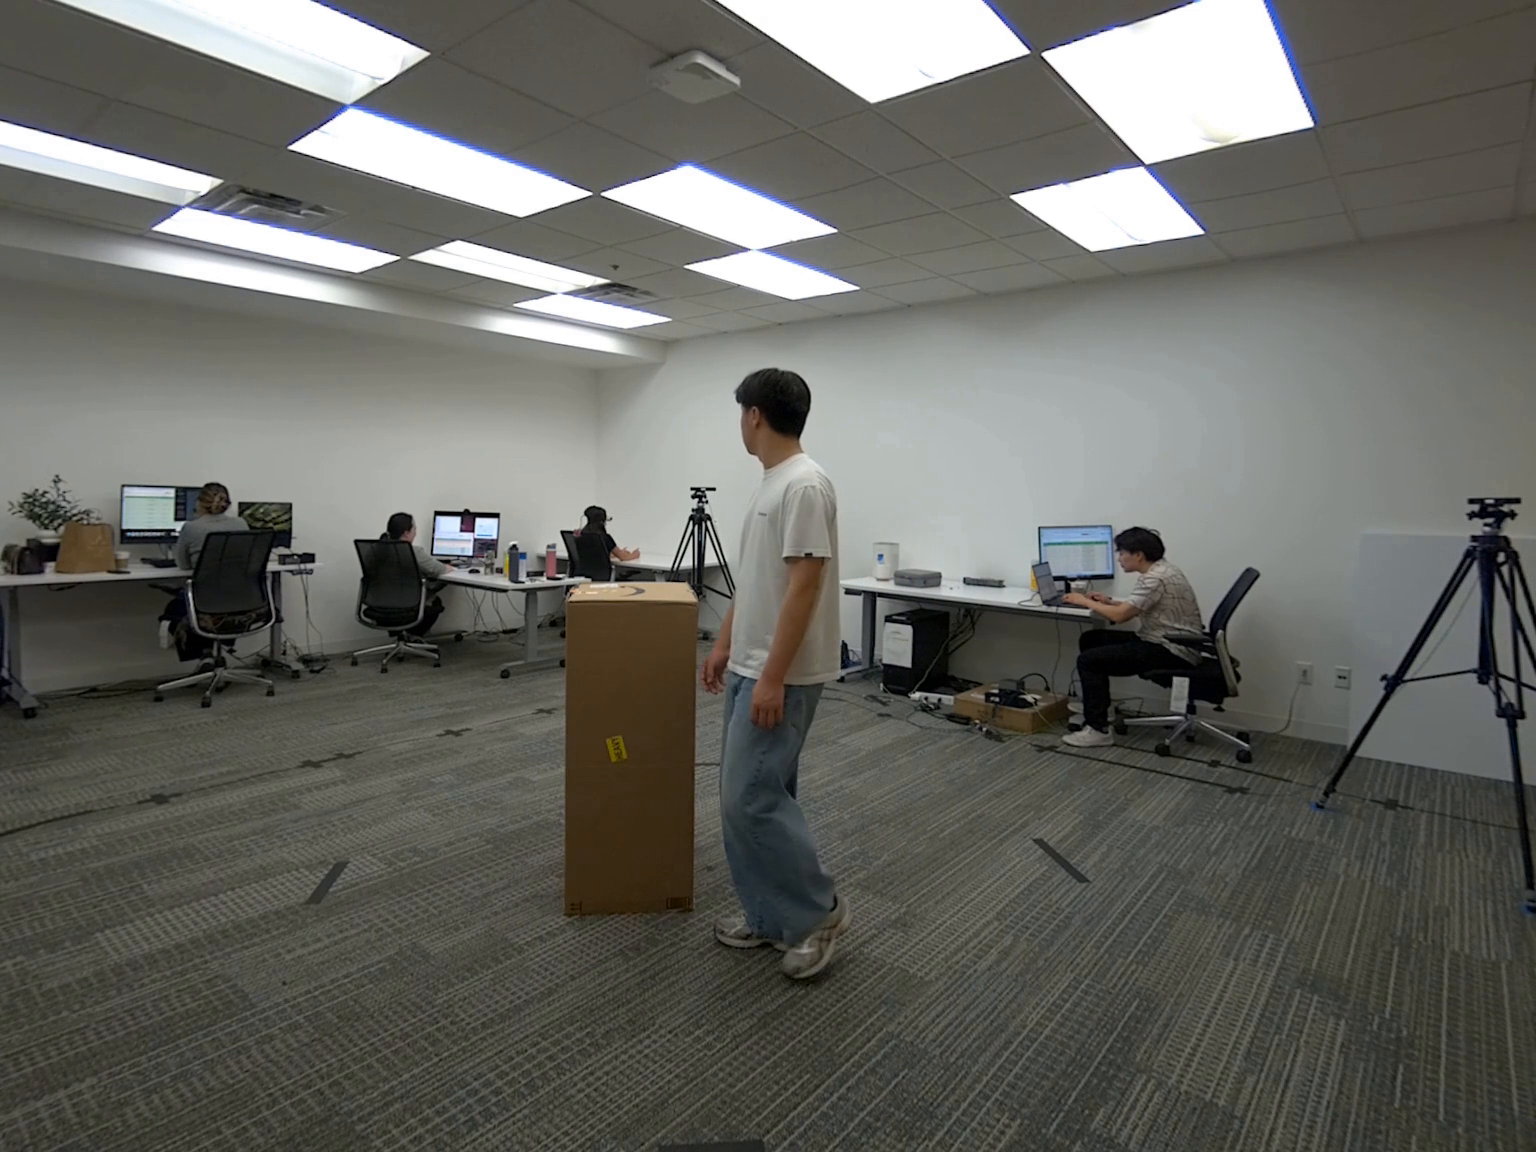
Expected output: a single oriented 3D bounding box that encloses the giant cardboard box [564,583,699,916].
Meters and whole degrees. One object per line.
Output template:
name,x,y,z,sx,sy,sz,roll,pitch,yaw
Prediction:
giant cardboard box,-0.499,0.560,3.026,0.423,1.023,0.584,1,3,-8
